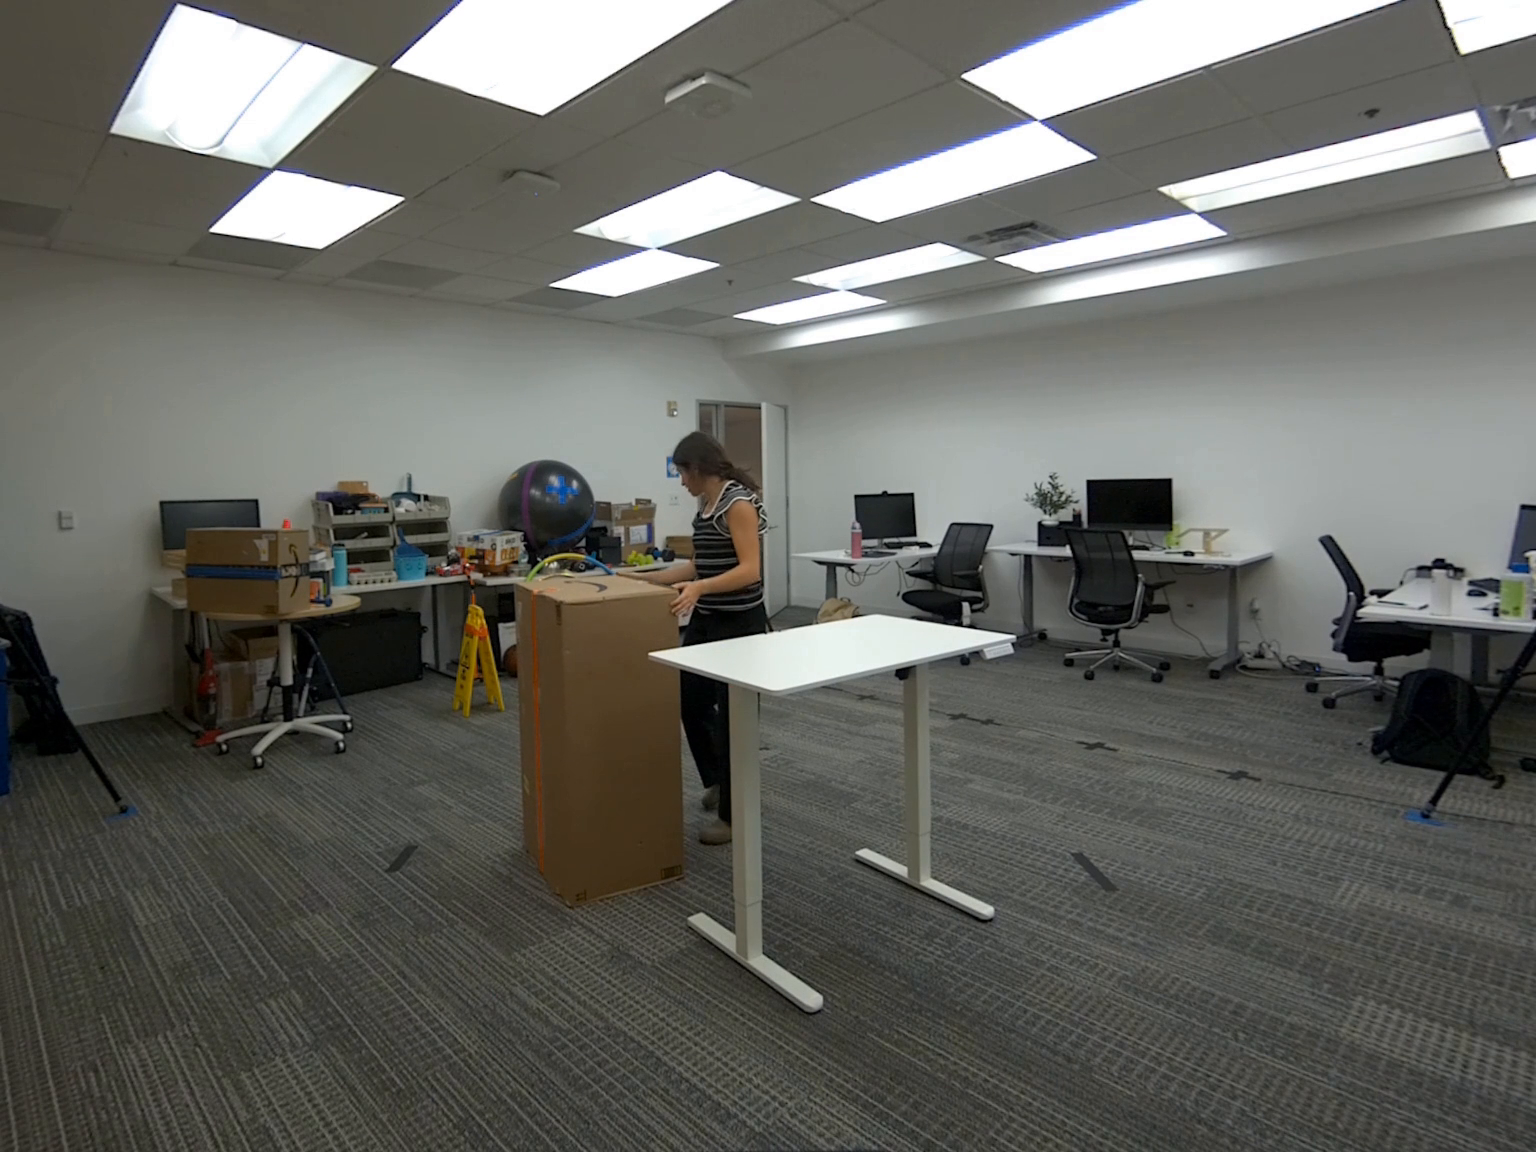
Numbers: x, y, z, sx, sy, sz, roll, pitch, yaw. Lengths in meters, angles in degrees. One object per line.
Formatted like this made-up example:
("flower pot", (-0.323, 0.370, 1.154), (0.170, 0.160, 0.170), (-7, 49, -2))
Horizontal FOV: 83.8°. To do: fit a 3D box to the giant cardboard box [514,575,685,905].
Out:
("giant cardboard box", (-0.627, 0.544, 3.109), (0.416, 1.022, 0.593), (-3, 5, -30))
